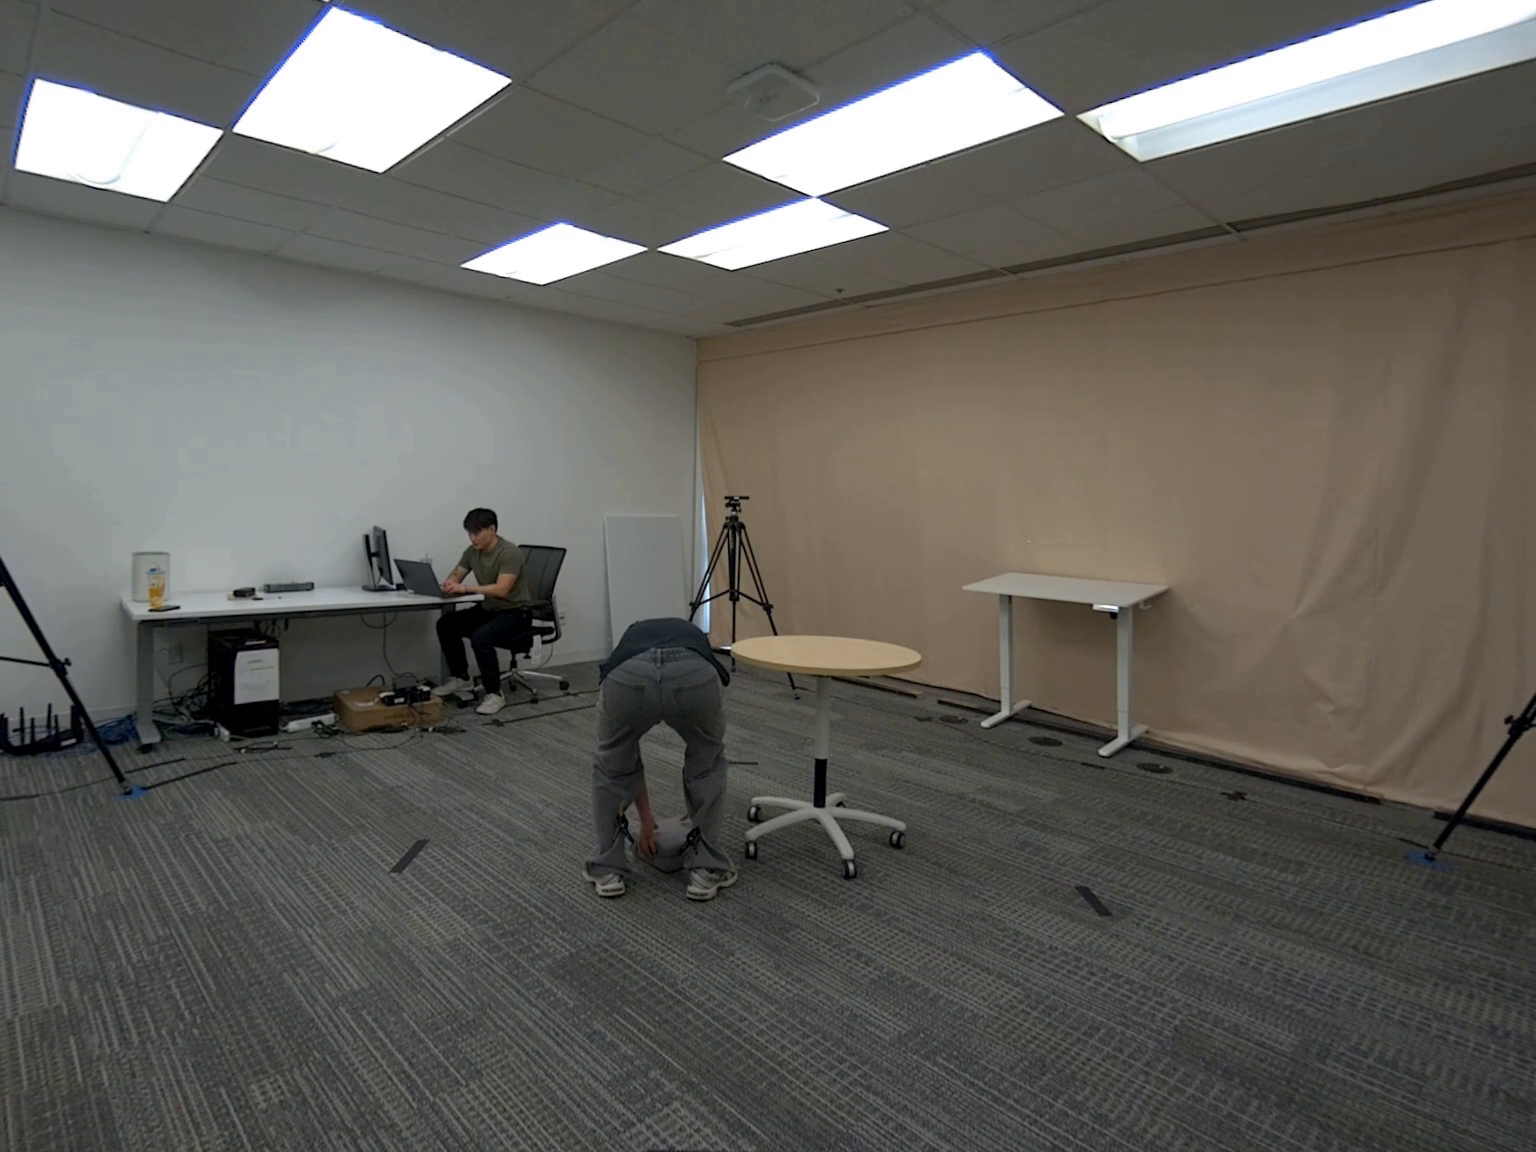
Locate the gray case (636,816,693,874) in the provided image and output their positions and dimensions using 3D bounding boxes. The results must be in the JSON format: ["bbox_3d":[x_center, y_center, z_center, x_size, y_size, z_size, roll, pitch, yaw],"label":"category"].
[{"bbox_3d":[-0.375,1.034,3.258,0.257,0.103,0.294,-5,7,-42],"label":"gray case"}]
